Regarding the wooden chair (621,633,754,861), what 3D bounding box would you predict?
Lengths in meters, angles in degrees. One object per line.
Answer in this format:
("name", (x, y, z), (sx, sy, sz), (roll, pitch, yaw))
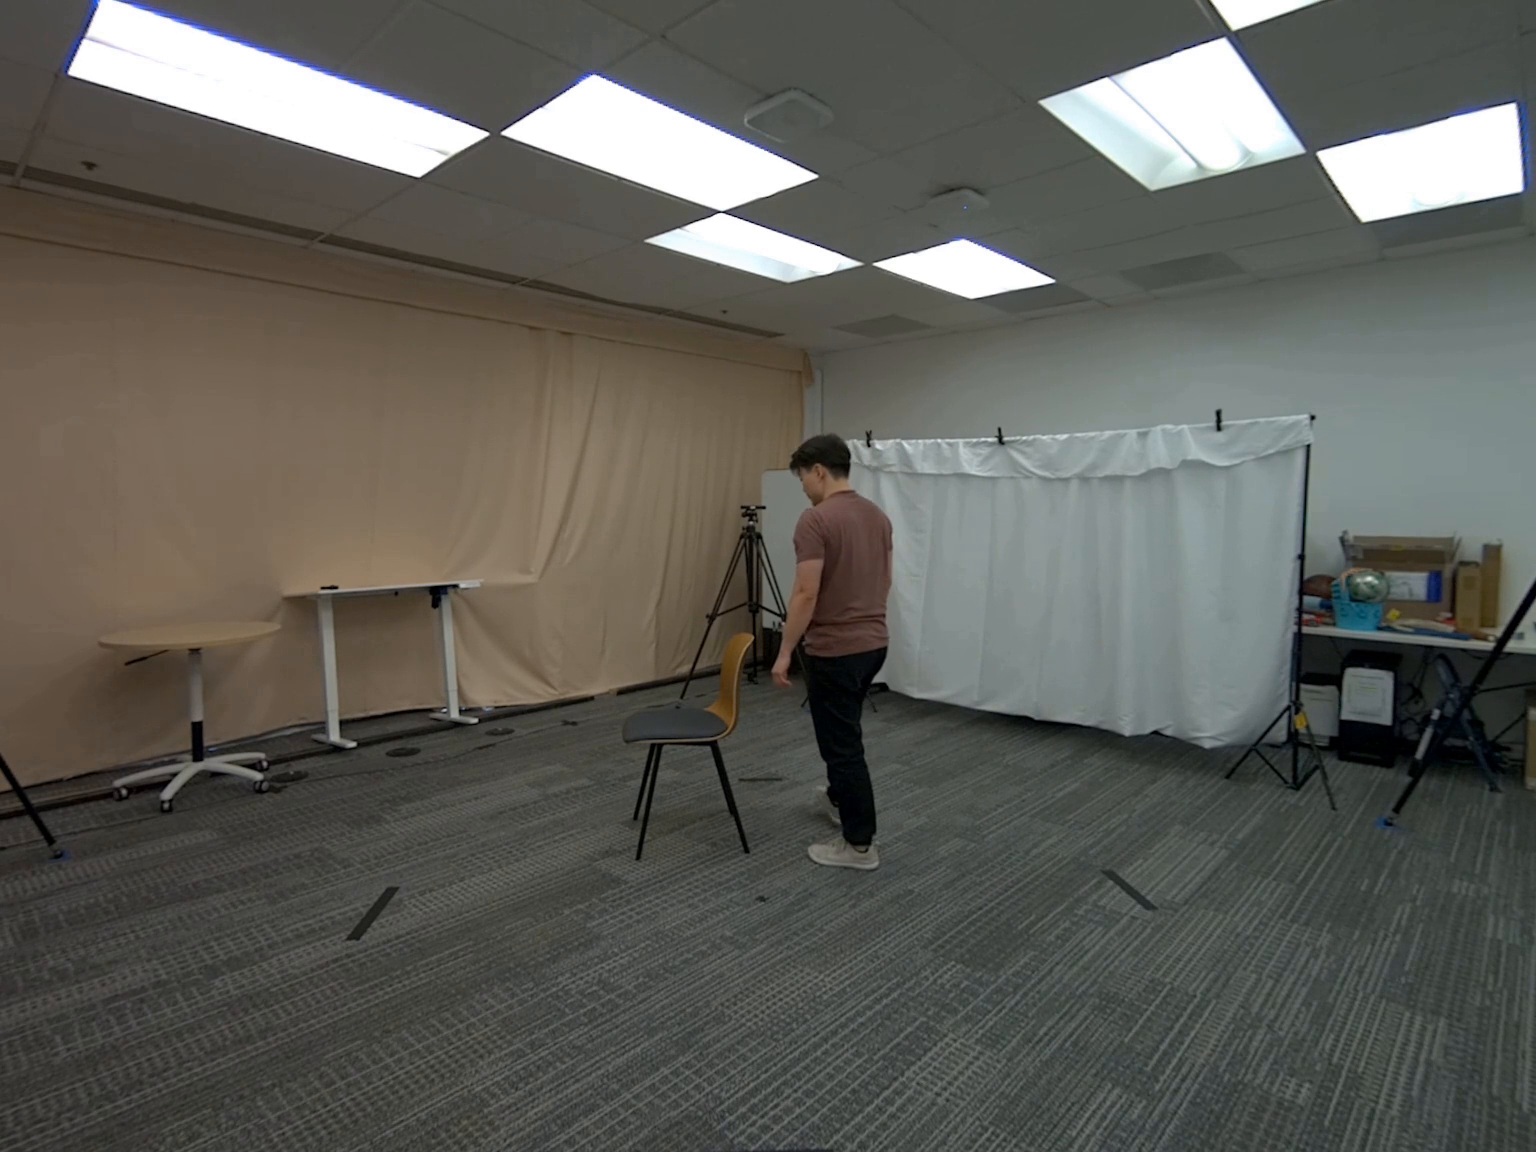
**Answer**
("wooden chair", (-0.350, 0.675, 3.525), (0.518, 0.876, 0.484), (3, 3, -10))
